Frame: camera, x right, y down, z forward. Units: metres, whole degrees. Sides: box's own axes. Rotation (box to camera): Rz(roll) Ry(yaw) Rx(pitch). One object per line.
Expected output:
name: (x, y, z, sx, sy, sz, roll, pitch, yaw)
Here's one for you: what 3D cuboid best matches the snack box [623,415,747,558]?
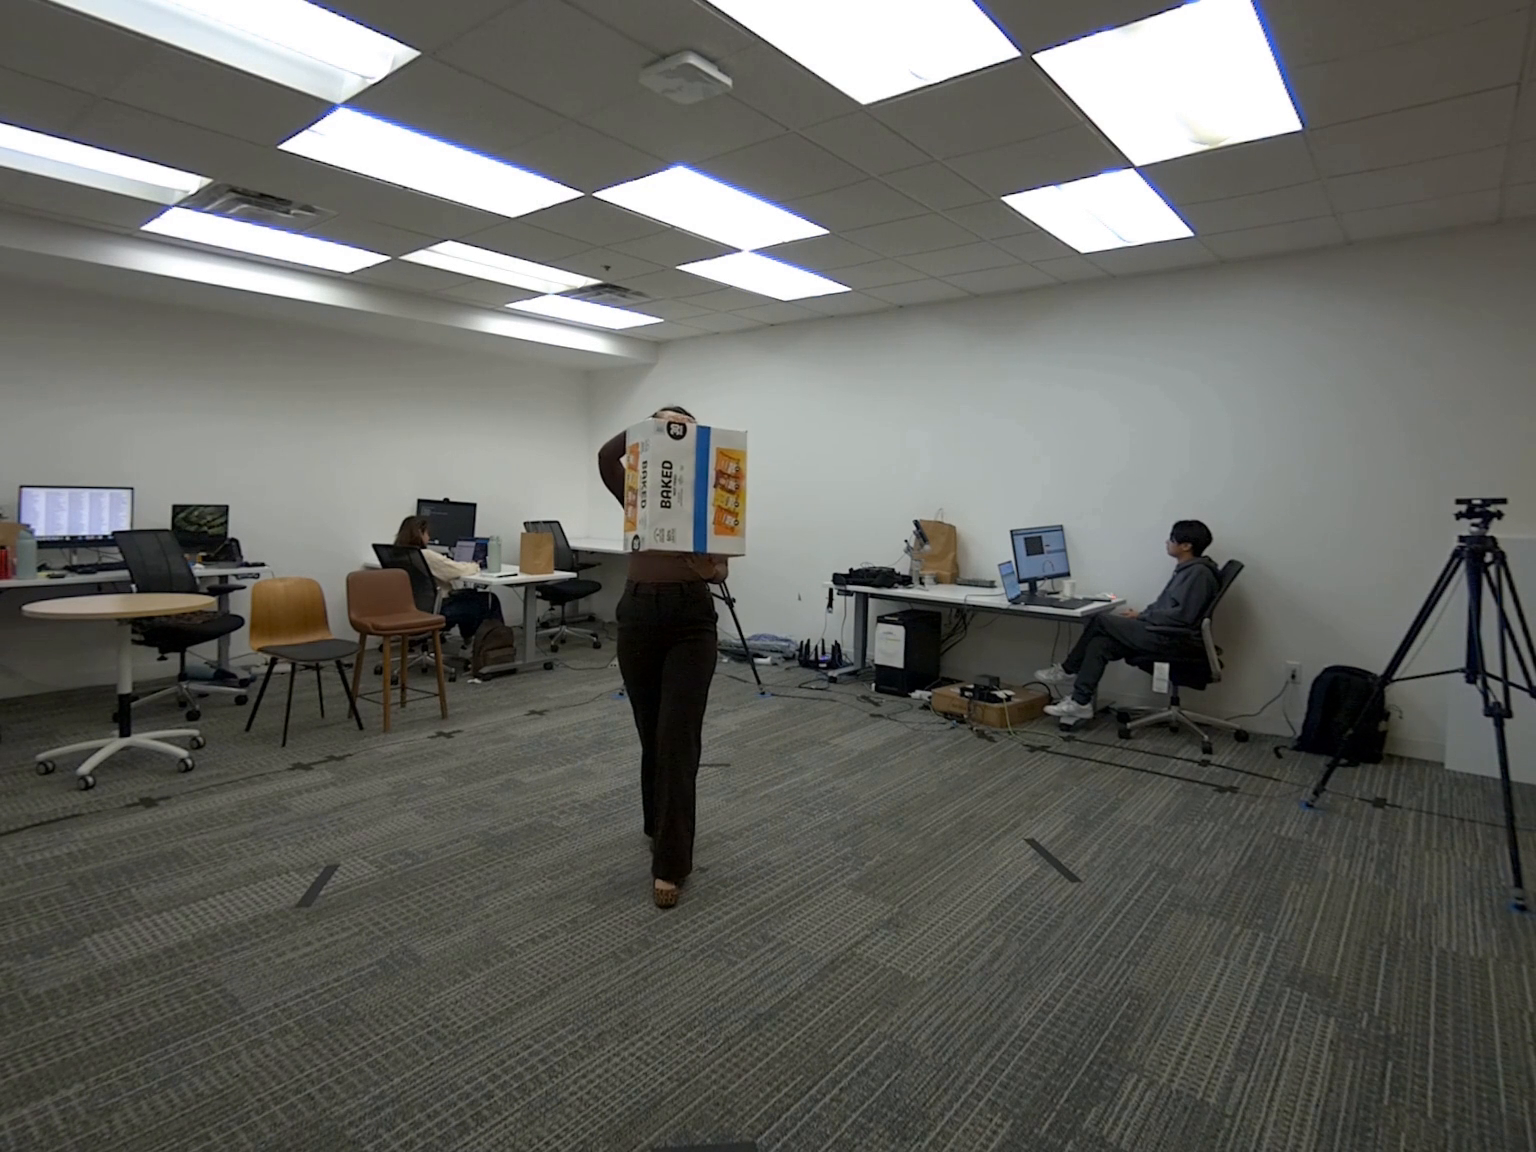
snack box: (-0.276, -0.276, 2.713, 0.331, 0.407, 0.211, 2, -5, -31)
